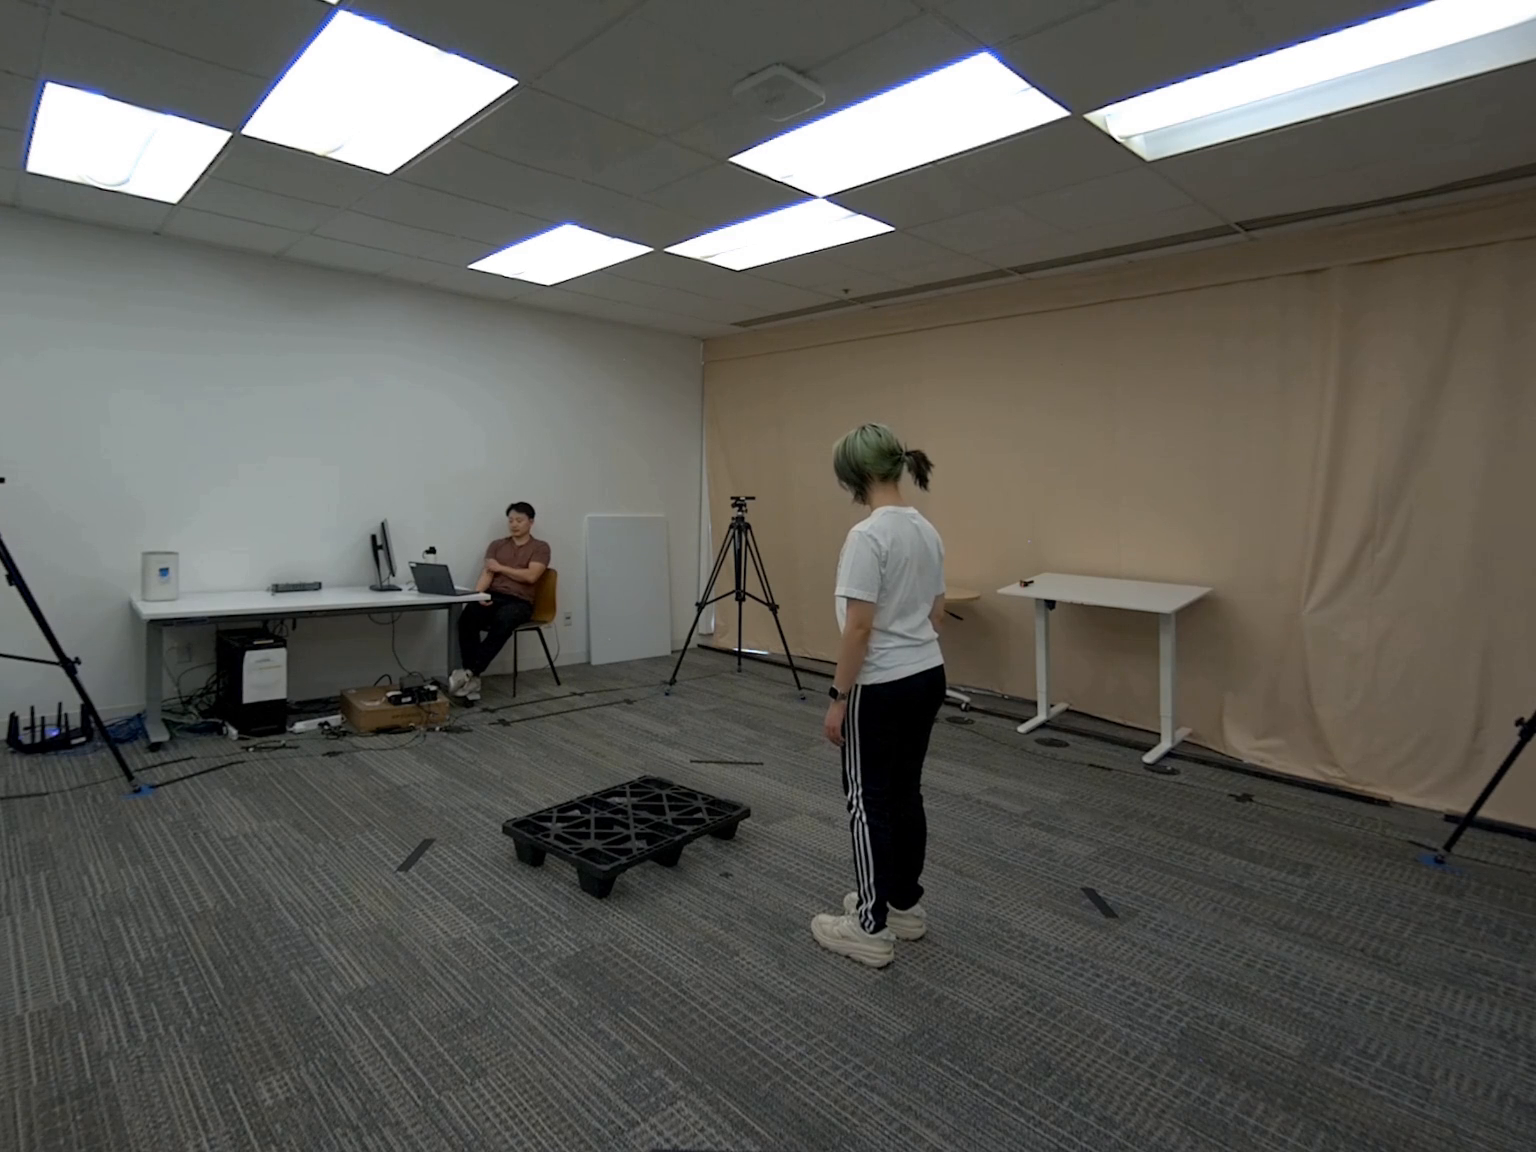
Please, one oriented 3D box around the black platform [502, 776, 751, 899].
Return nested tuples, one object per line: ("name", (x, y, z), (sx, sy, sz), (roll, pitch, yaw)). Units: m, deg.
("black platform", (-0.554, 1.009, 3.318), (0.620, 0.143, 0.788), (5, 6, 38))
